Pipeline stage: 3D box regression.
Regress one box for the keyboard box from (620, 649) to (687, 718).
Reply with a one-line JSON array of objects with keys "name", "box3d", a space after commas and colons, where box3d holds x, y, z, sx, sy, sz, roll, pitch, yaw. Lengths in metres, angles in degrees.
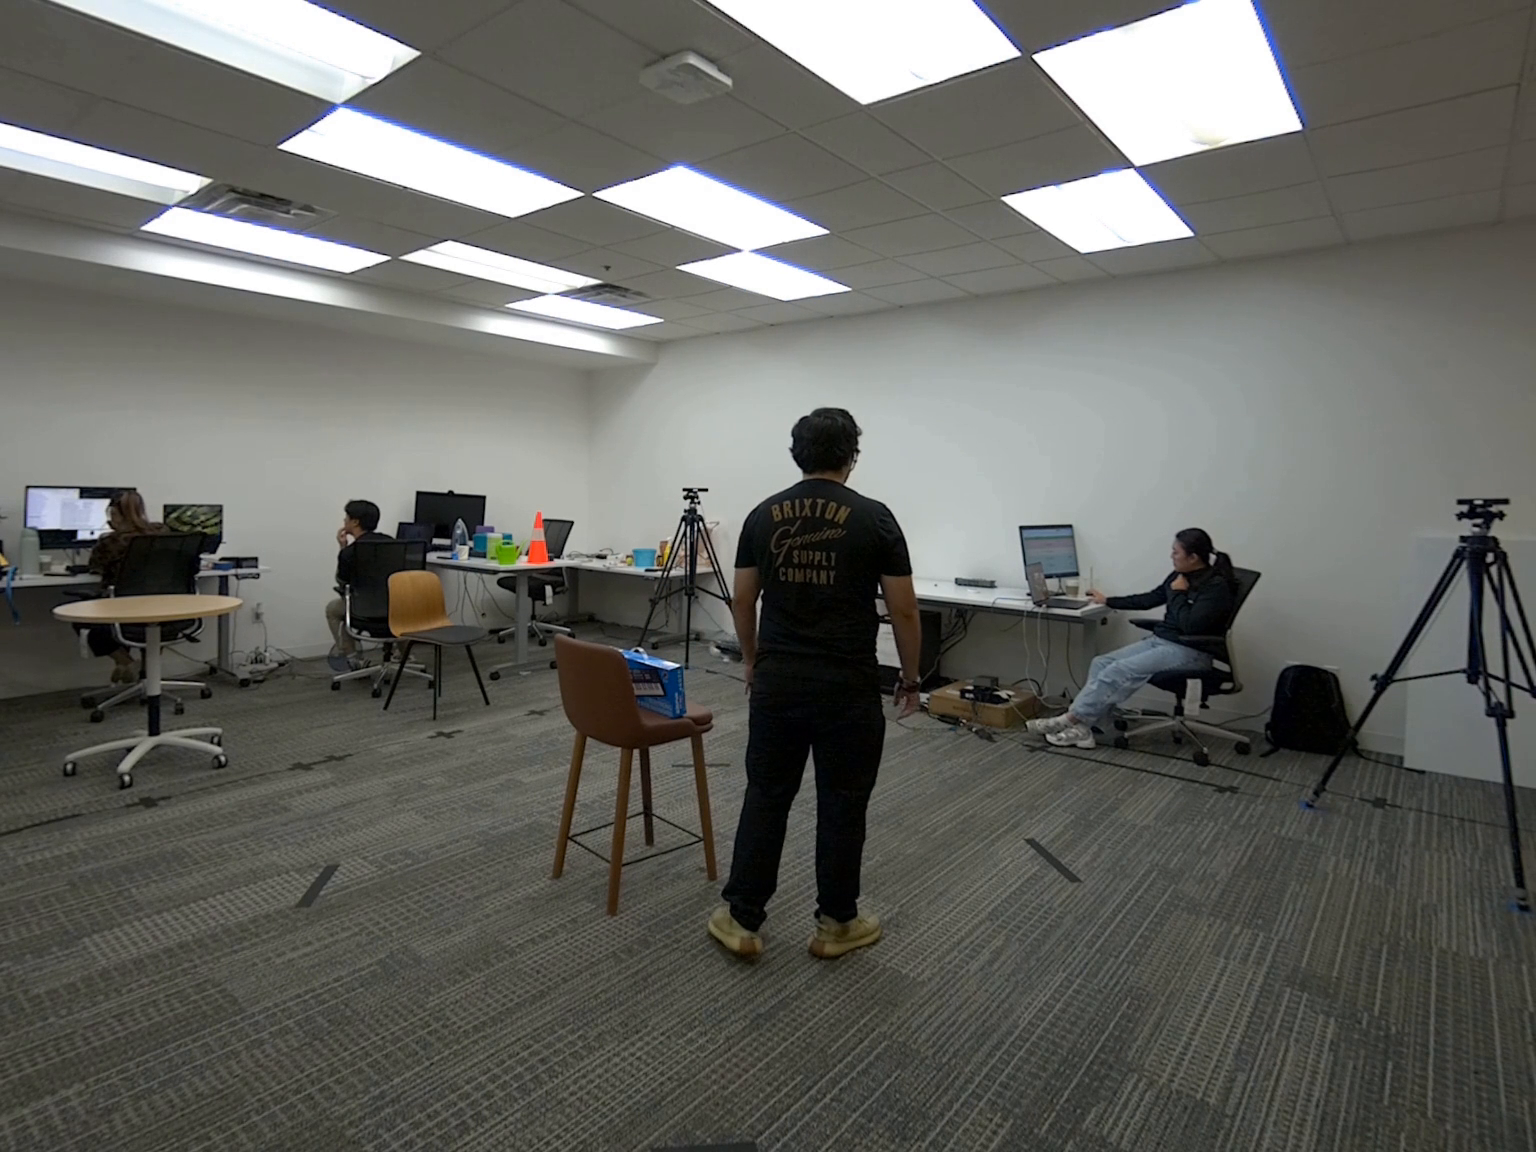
[{"name": "keyboard box", "box3d": [-0.466, 0.372, 3.038, 0.057, 0.174, 0.452, -10, 12, -42]}]
